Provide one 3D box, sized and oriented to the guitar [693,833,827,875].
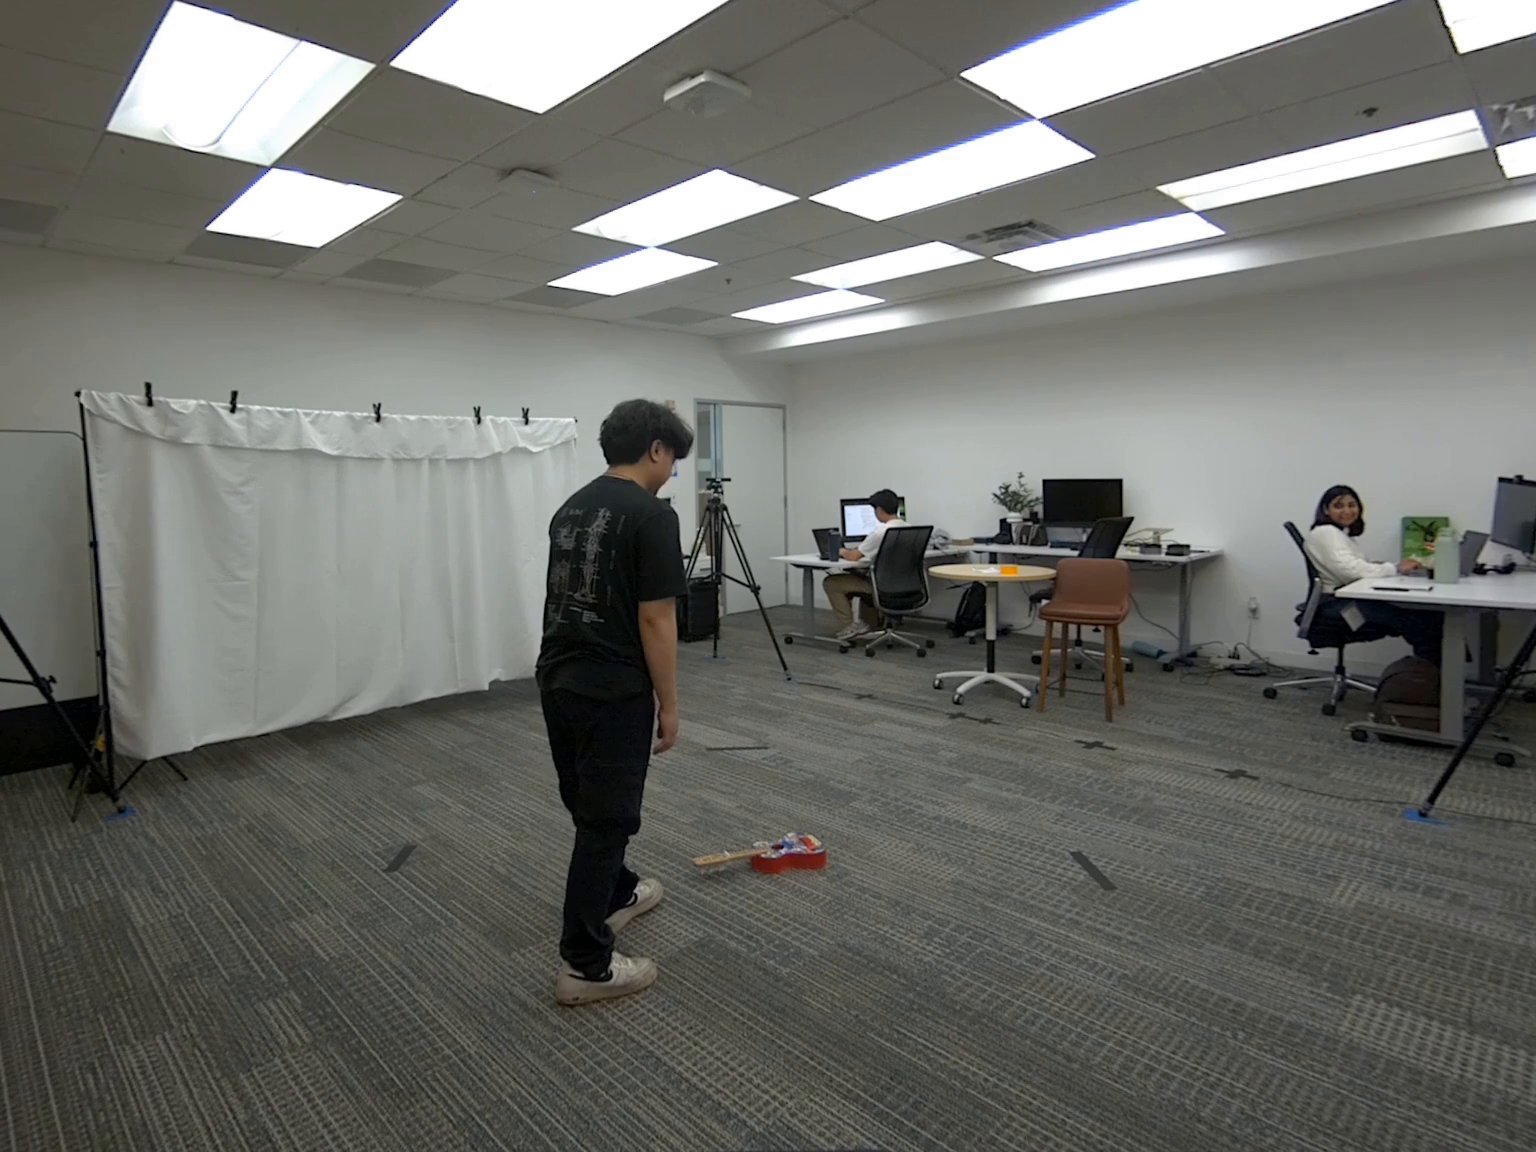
[{"bbox_3d":[-0.039,1.008,3.095,0.491,0.070,0.196,-2,6,-13],"label":"guitar"}]
